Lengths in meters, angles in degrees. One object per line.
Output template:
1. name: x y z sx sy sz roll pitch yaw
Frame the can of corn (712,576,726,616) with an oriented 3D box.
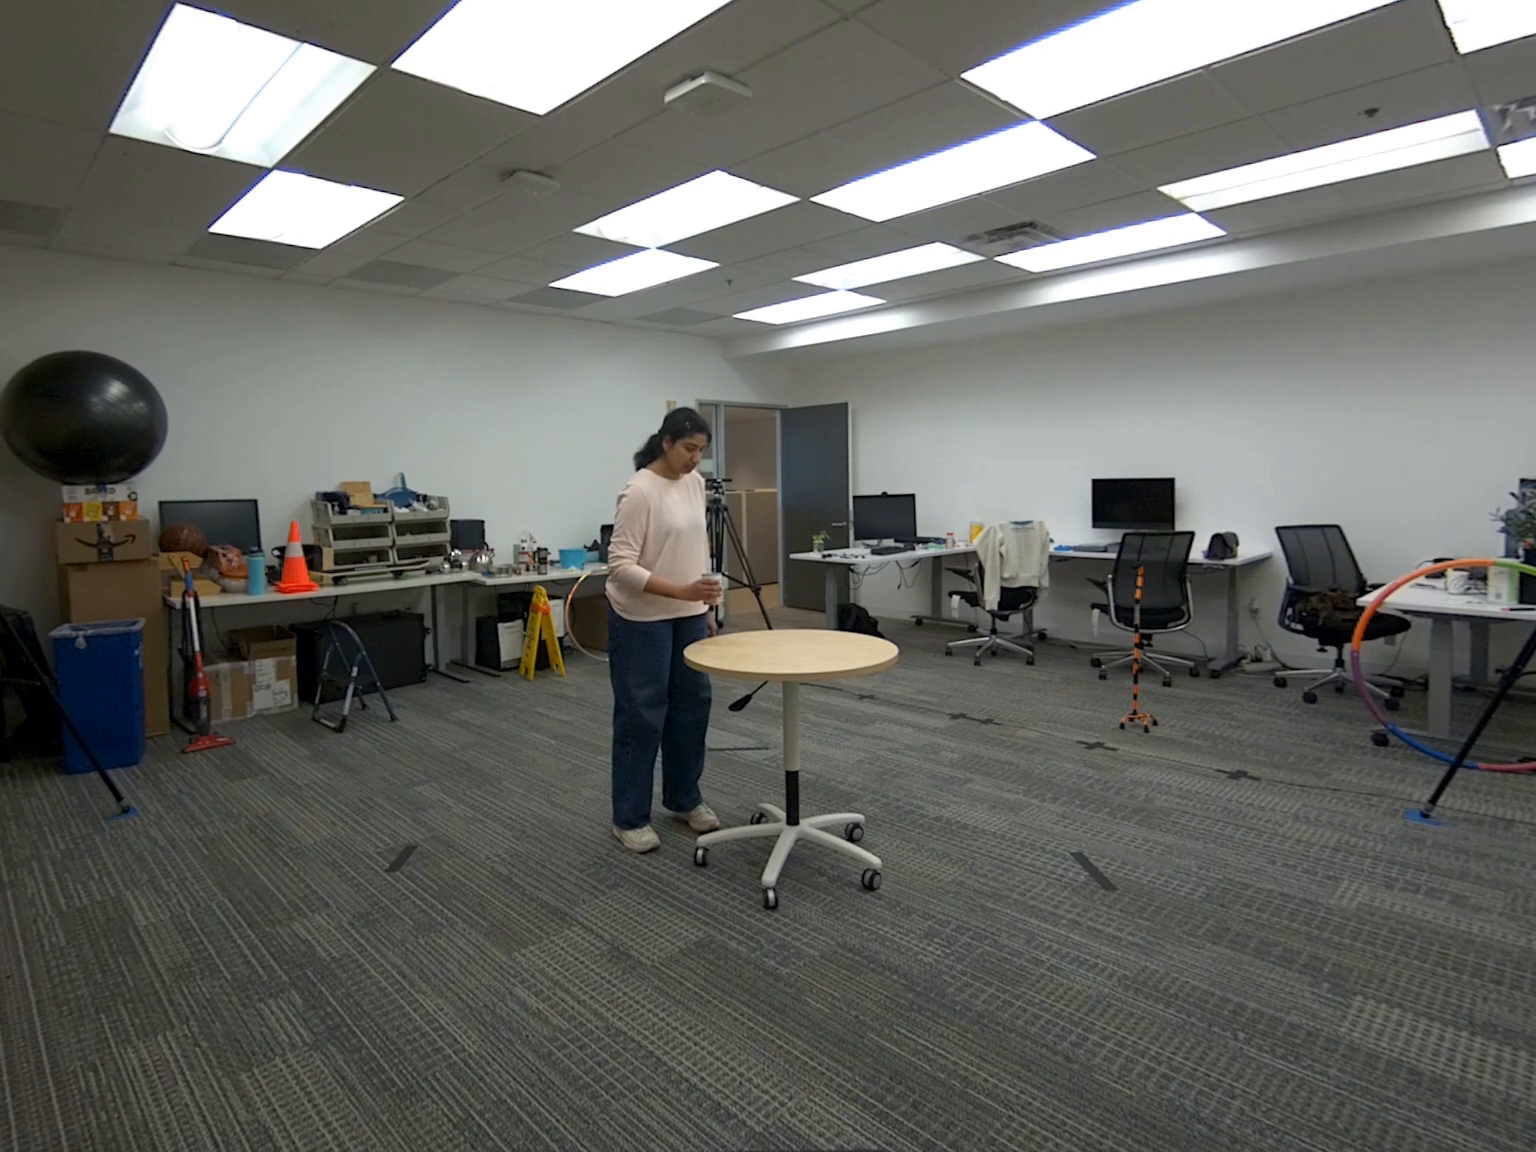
1. can of corn: -0.205 0.054 3.147 0.074 0.110 0.074 -5 5 -1
